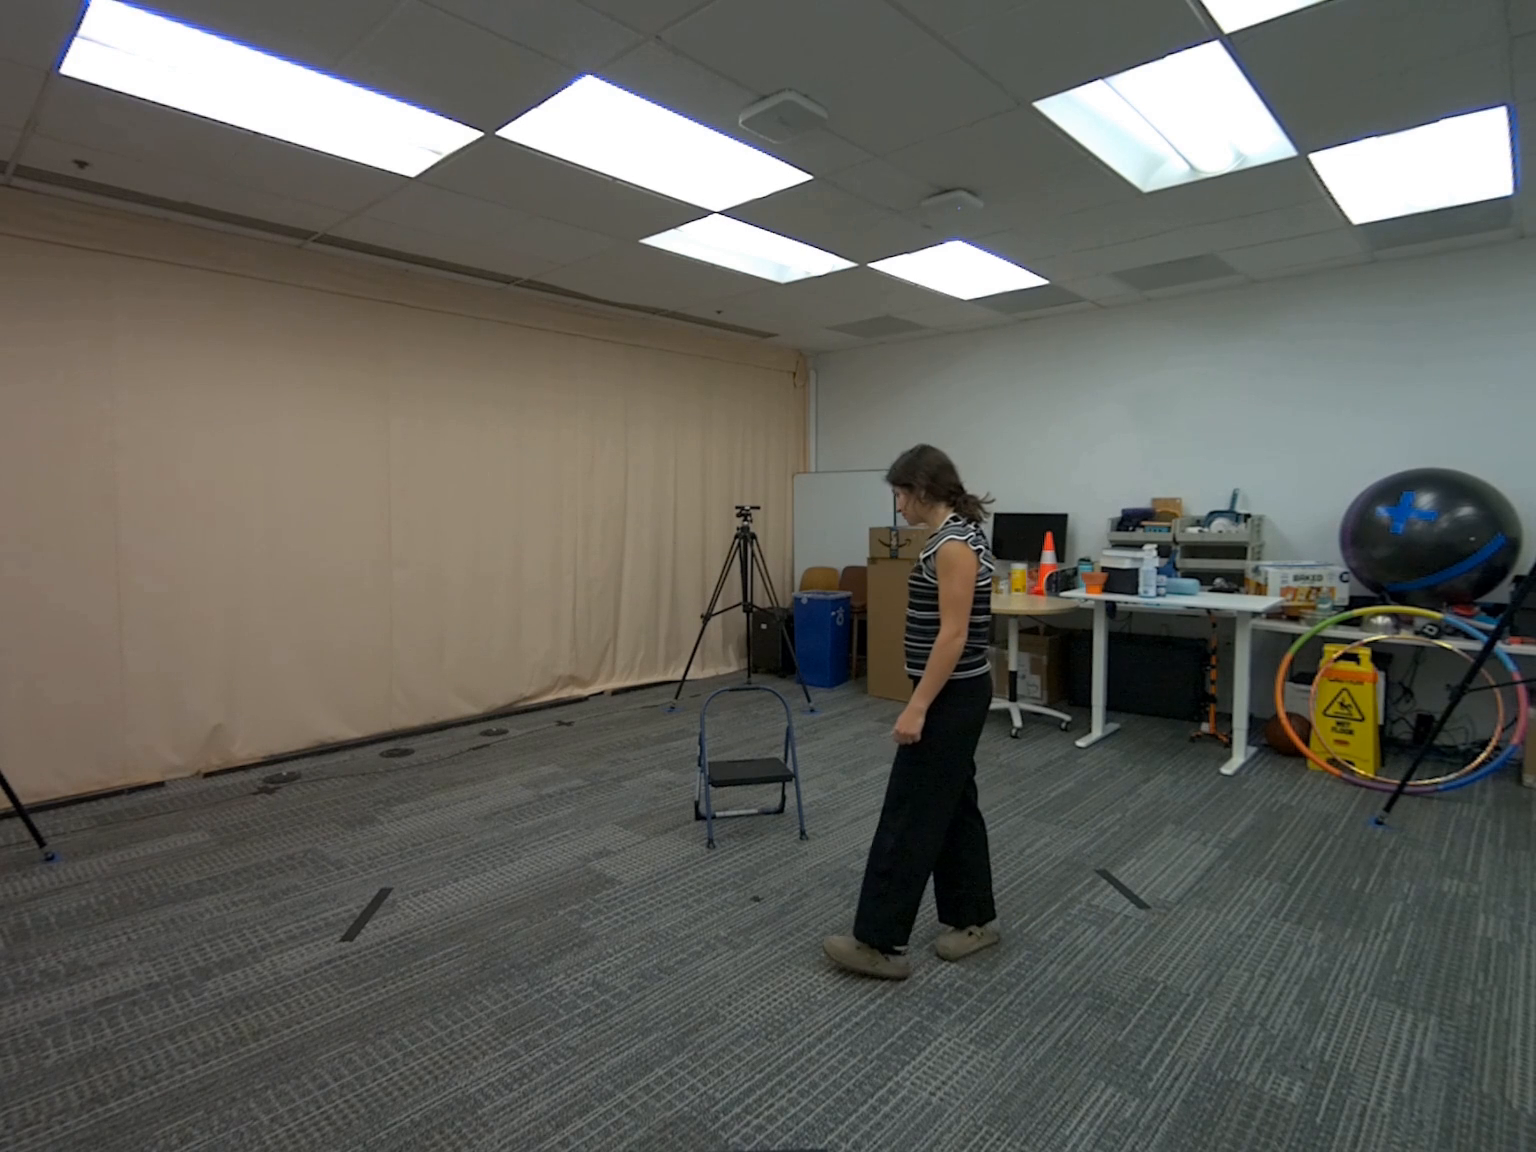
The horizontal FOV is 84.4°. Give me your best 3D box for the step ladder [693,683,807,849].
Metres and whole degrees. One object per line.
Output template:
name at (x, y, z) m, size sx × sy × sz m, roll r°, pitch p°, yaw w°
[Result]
step ladder at (-0.081, 0.792, 3.621) m, size 0.425 × 0.605 × 0.355 m, roll -1°, pitch 3°, yaw -14°
